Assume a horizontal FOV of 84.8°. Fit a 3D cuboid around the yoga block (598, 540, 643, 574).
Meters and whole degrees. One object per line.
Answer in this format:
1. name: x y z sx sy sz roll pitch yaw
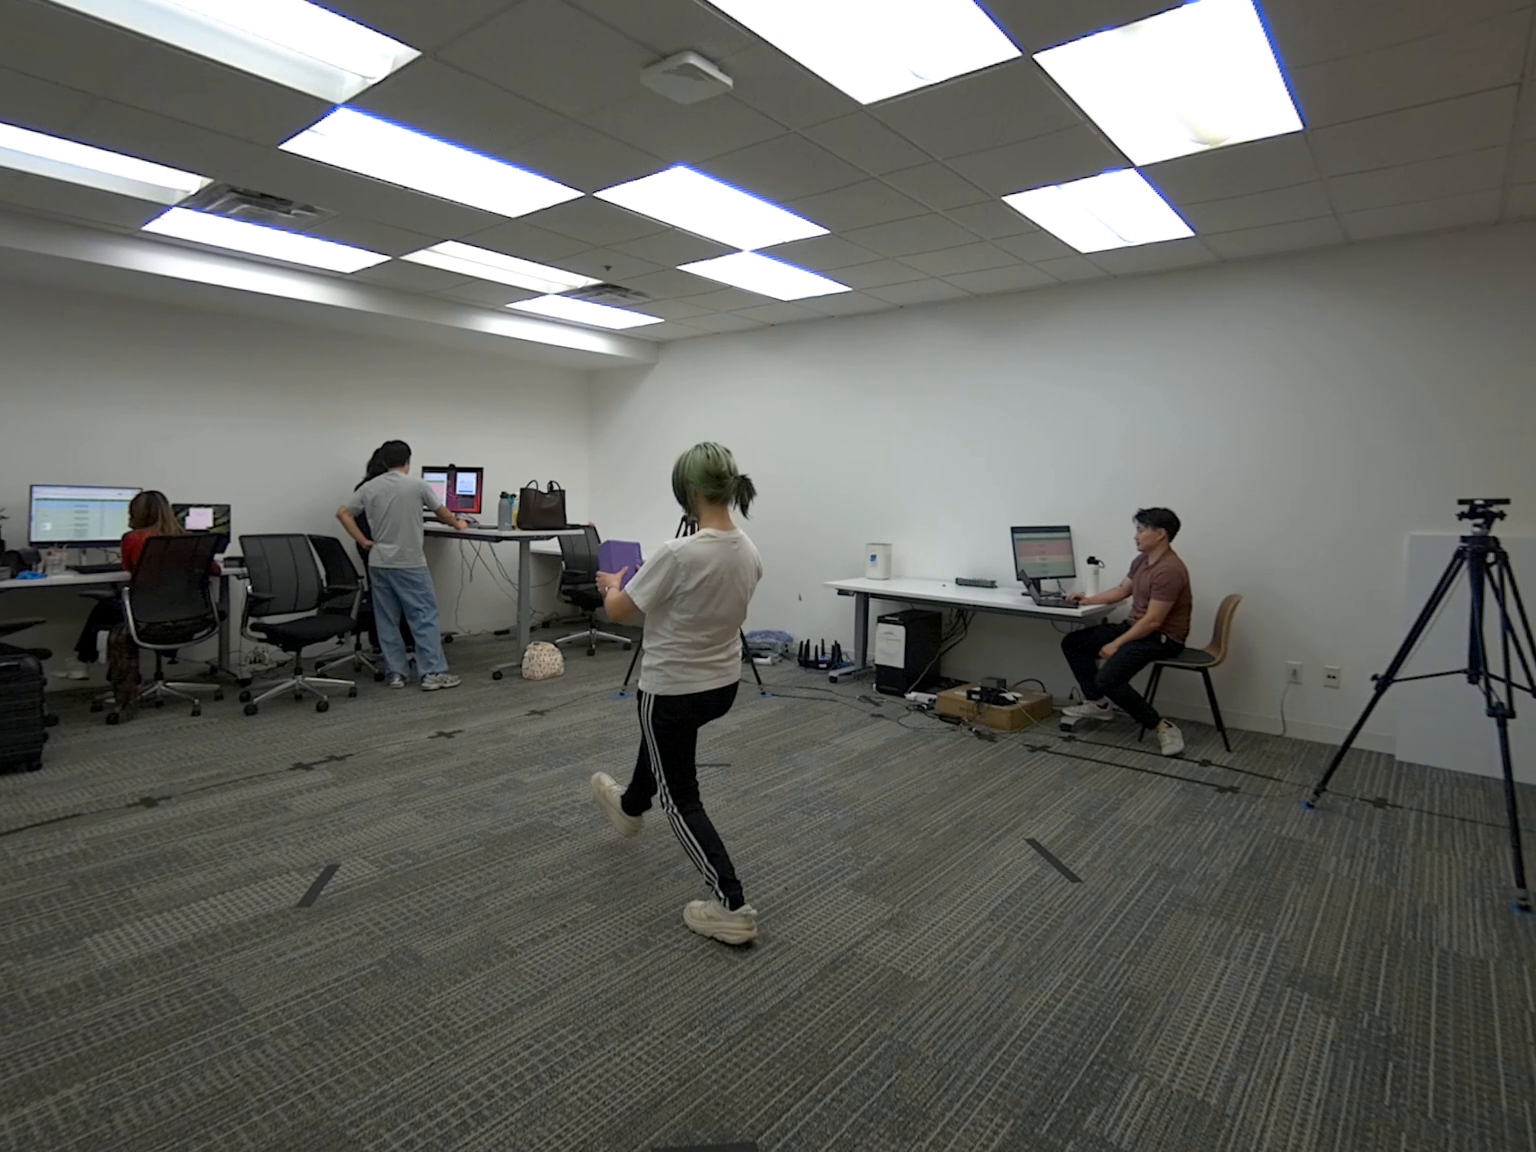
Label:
1. yoga block: -0.532 -0.014 3.042 0.144 0.233 0.078 5 -21 -43
